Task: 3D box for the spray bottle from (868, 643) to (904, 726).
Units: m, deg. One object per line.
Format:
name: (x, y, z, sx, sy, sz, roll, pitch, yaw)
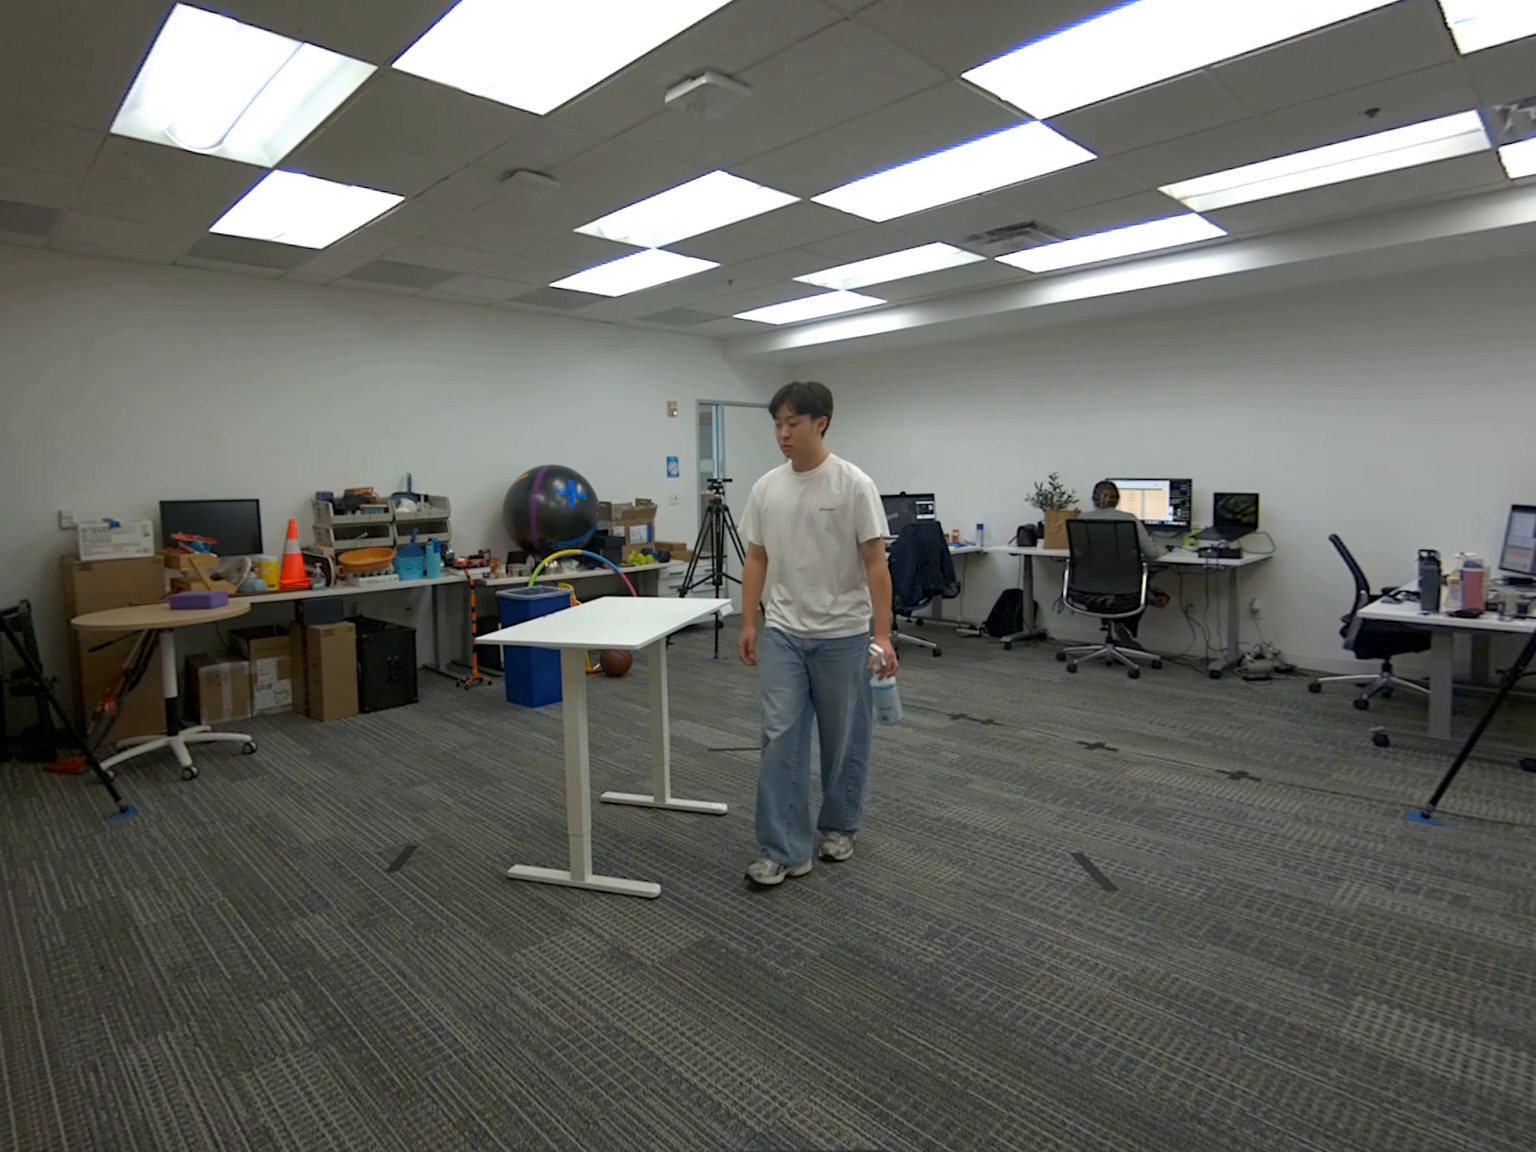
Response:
spray bottle: (0.379, 0.361, 2.892, 0.088, 0.291, 0.091, -9, 22, 10)
